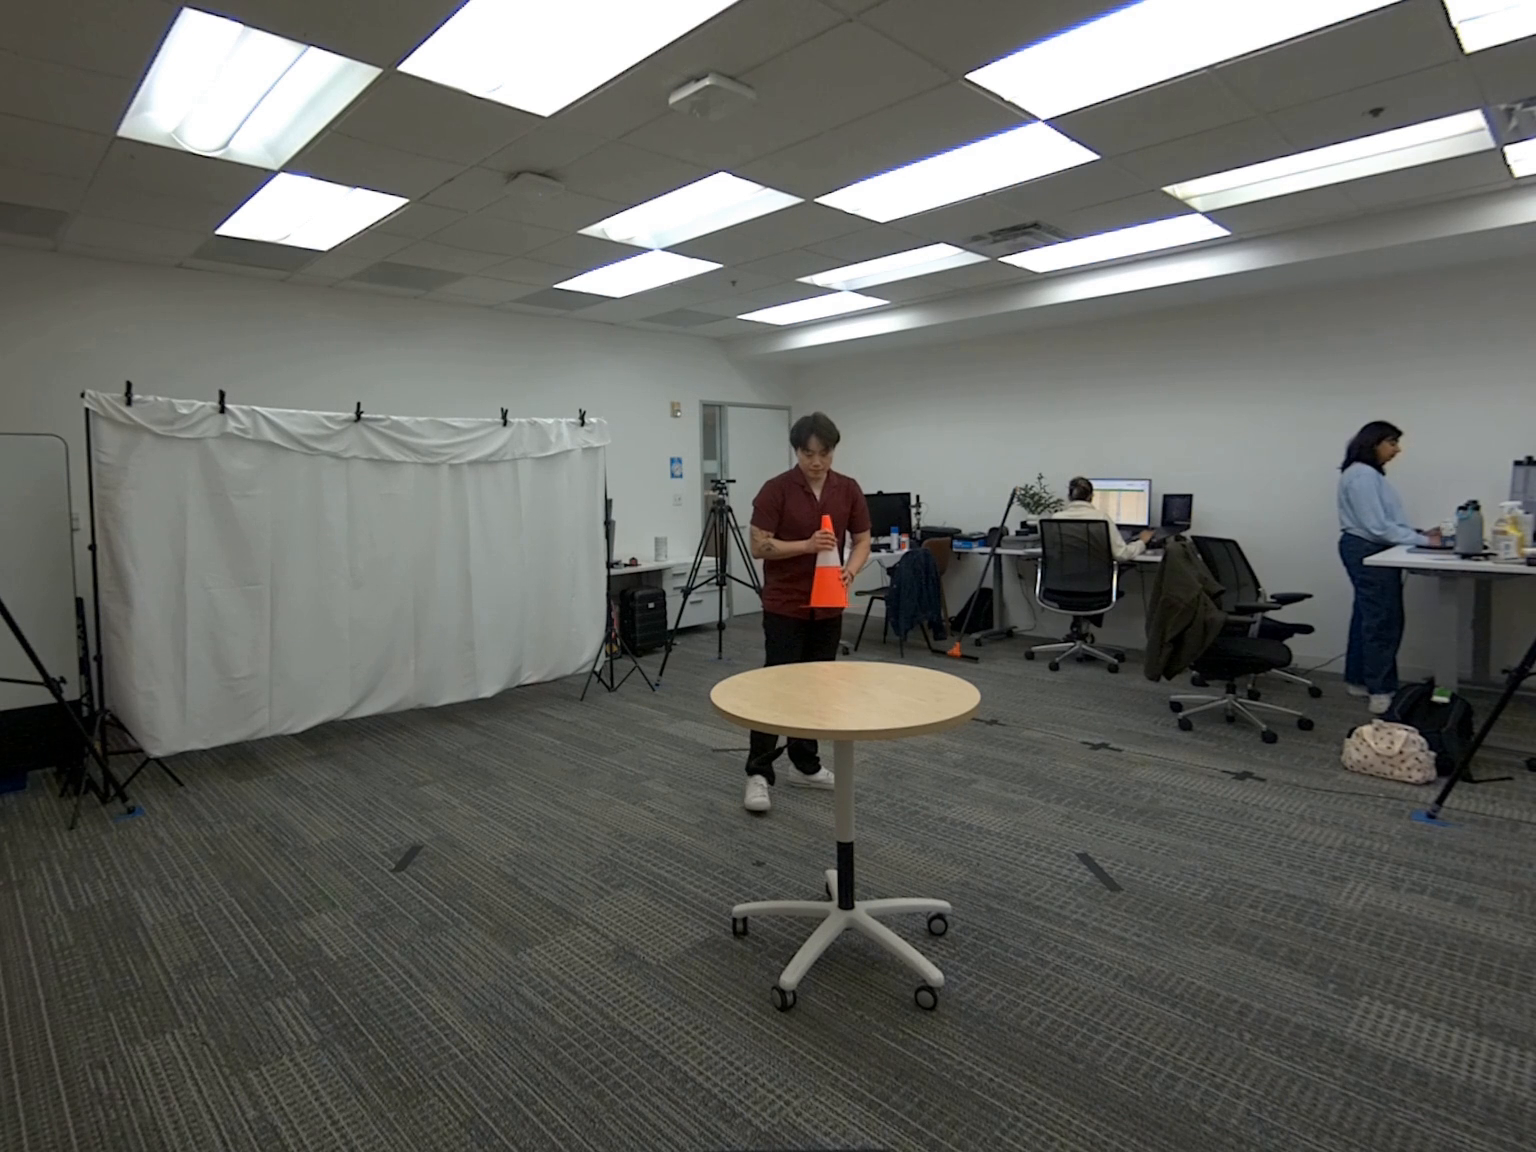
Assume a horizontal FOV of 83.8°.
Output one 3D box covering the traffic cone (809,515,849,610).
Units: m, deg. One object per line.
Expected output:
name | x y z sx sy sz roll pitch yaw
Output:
traffic cone | 0.245 -0.063 3.592 0.201 0.384 0.207 -1 -2 -20
